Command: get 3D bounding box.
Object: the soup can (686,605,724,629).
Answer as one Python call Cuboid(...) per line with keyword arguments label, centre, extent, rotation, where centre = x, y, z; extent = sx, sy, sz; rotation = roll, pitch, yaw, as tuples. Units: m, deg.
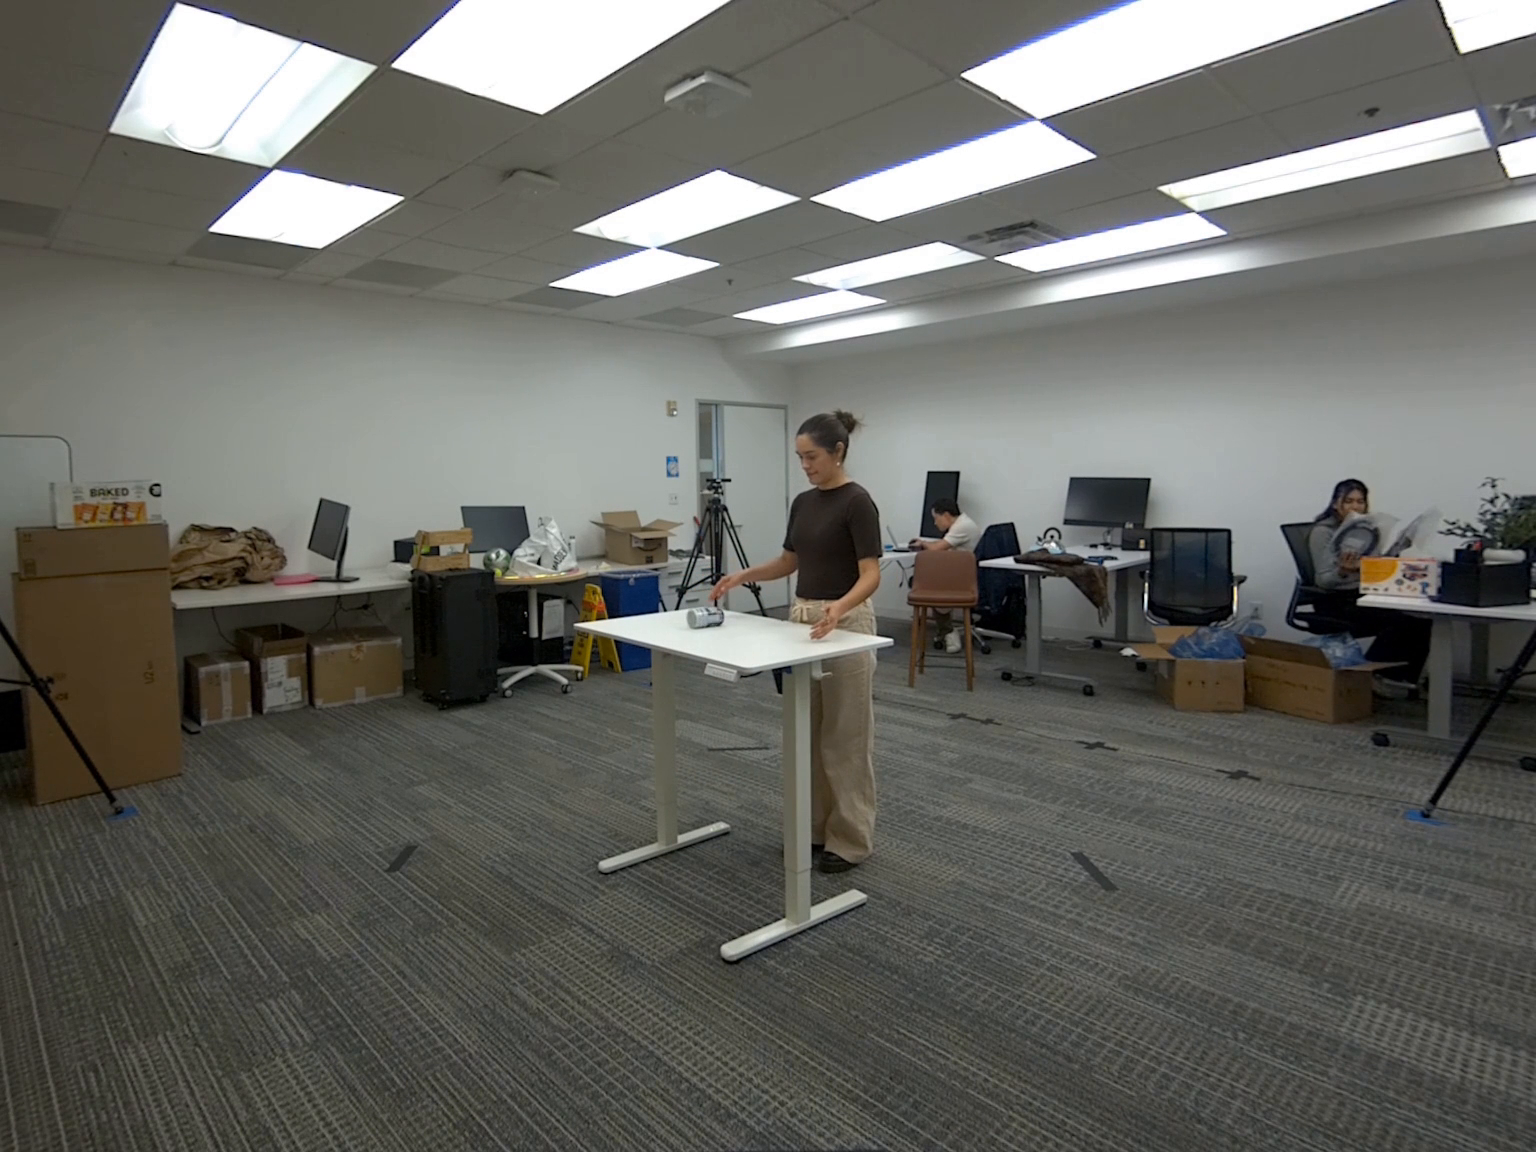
Cuboid(label="soup can", centre=(-0.216, 0.142, 2.995), extent=(0.119, 0.067, 0.068), rotation=(-2, 5, -19))
